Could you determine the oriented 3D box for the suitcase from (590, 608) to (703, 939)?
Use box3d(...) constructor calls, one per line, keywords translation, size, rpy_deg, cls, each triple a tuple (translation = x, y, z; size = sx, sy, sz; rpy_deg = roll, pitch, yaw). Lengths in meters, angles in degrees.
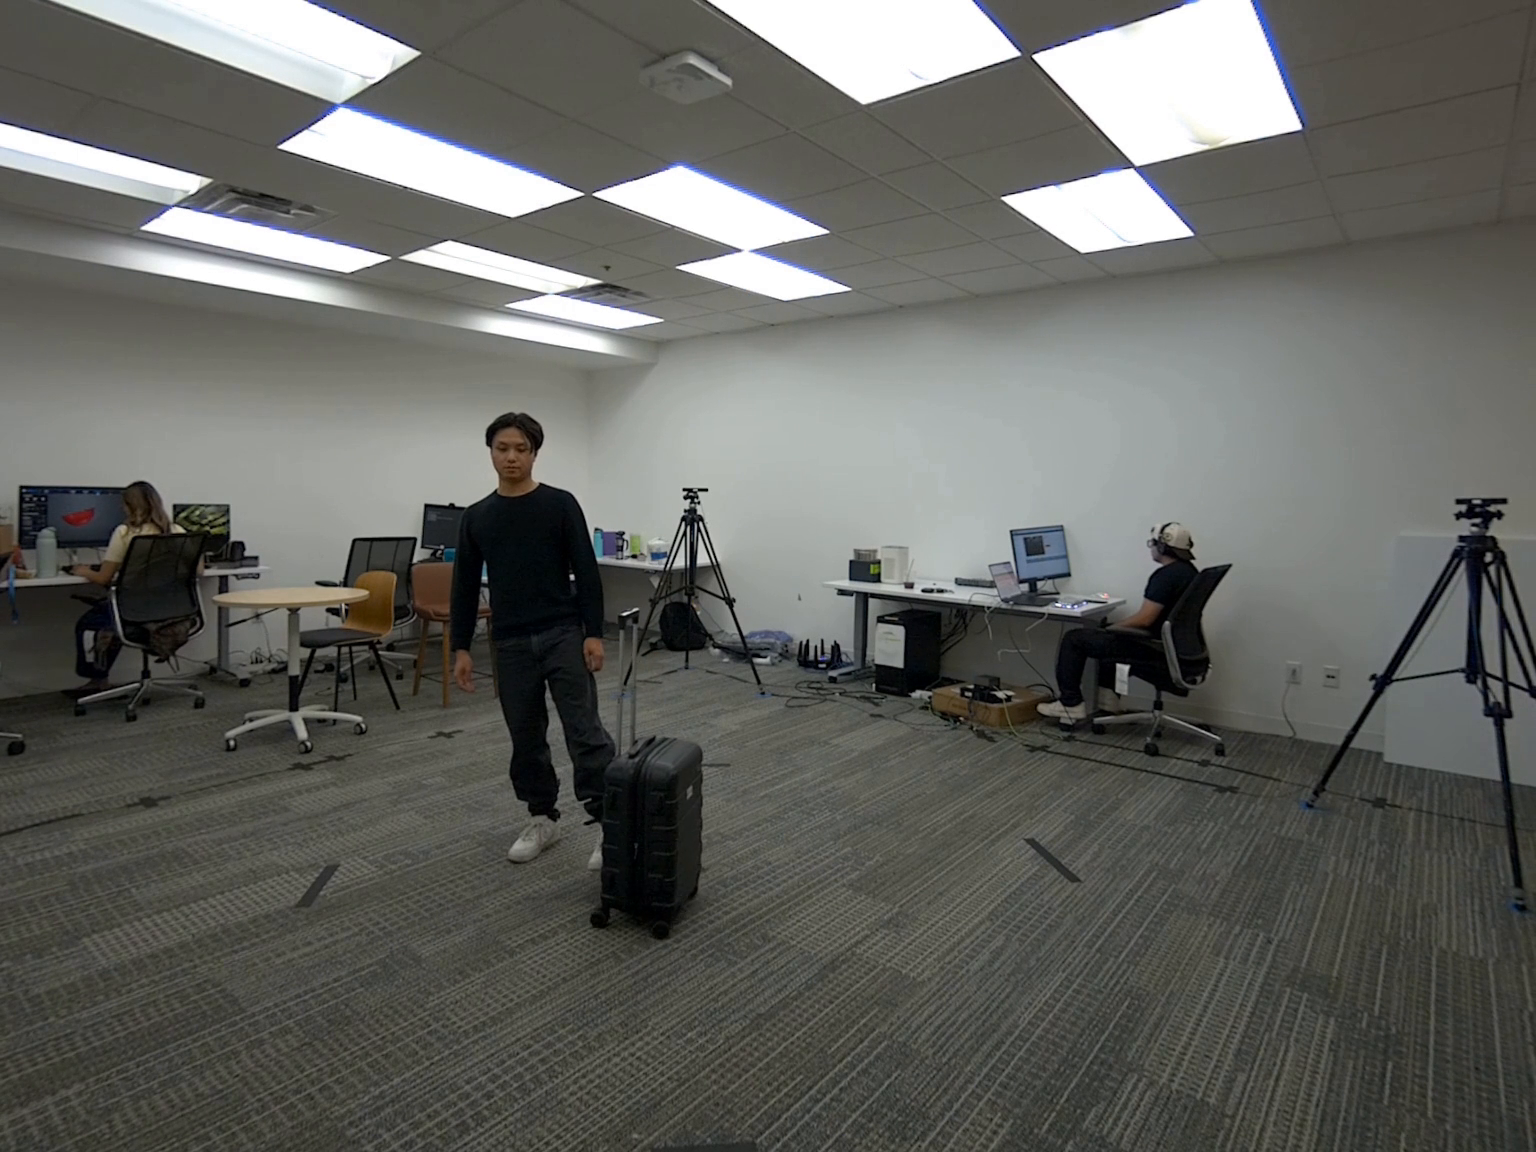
box3d(translation=(-0.366, 0.620, 2.778), size=(0.261, 0.976, 0.379), rpy_deg=(4, 3, 13), cls="suitcase")
